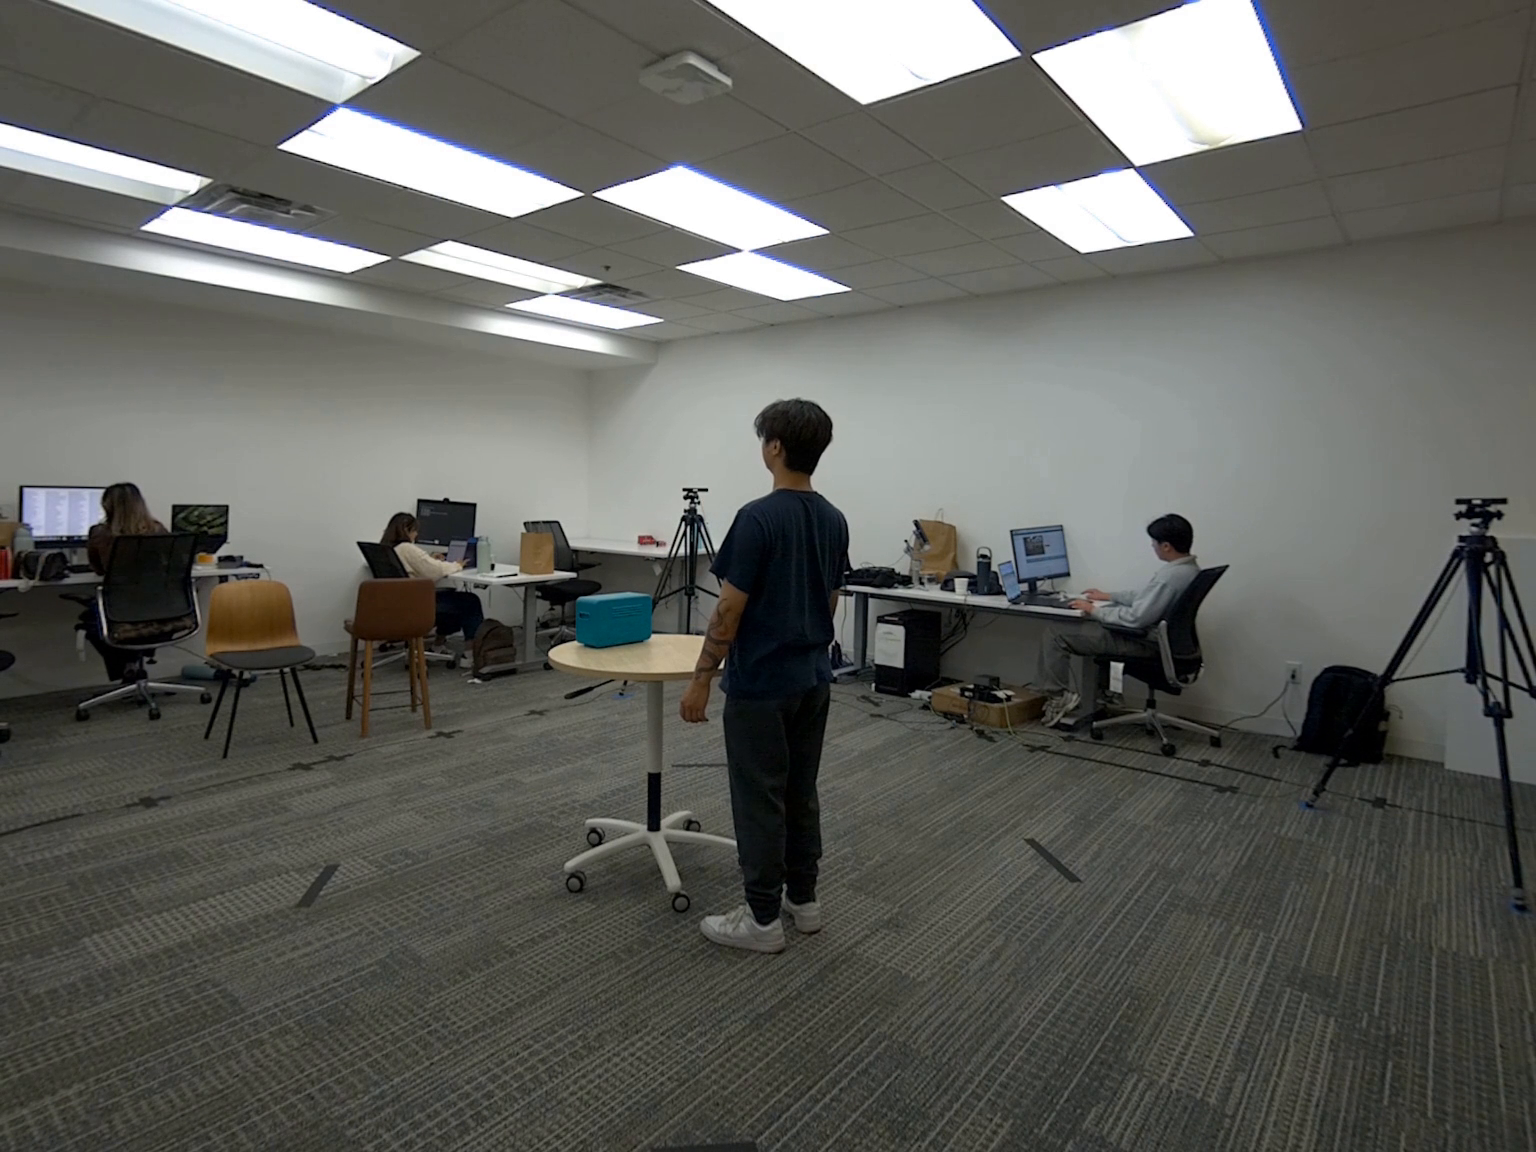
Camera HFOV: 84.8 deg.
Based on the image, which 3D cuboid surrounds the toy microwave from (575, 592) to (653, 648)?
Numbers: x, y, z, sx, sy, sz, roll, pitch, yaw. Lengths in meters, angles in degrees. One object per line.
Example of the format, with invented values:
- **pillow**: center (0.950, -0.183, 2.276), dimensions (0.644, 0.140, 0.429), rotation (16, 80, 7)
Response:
- **toy microwave**: center (-0.604, 0.163, 3.246), dimensions (0.157, 0.183, 0.278), rotation (4, 6, 42)
